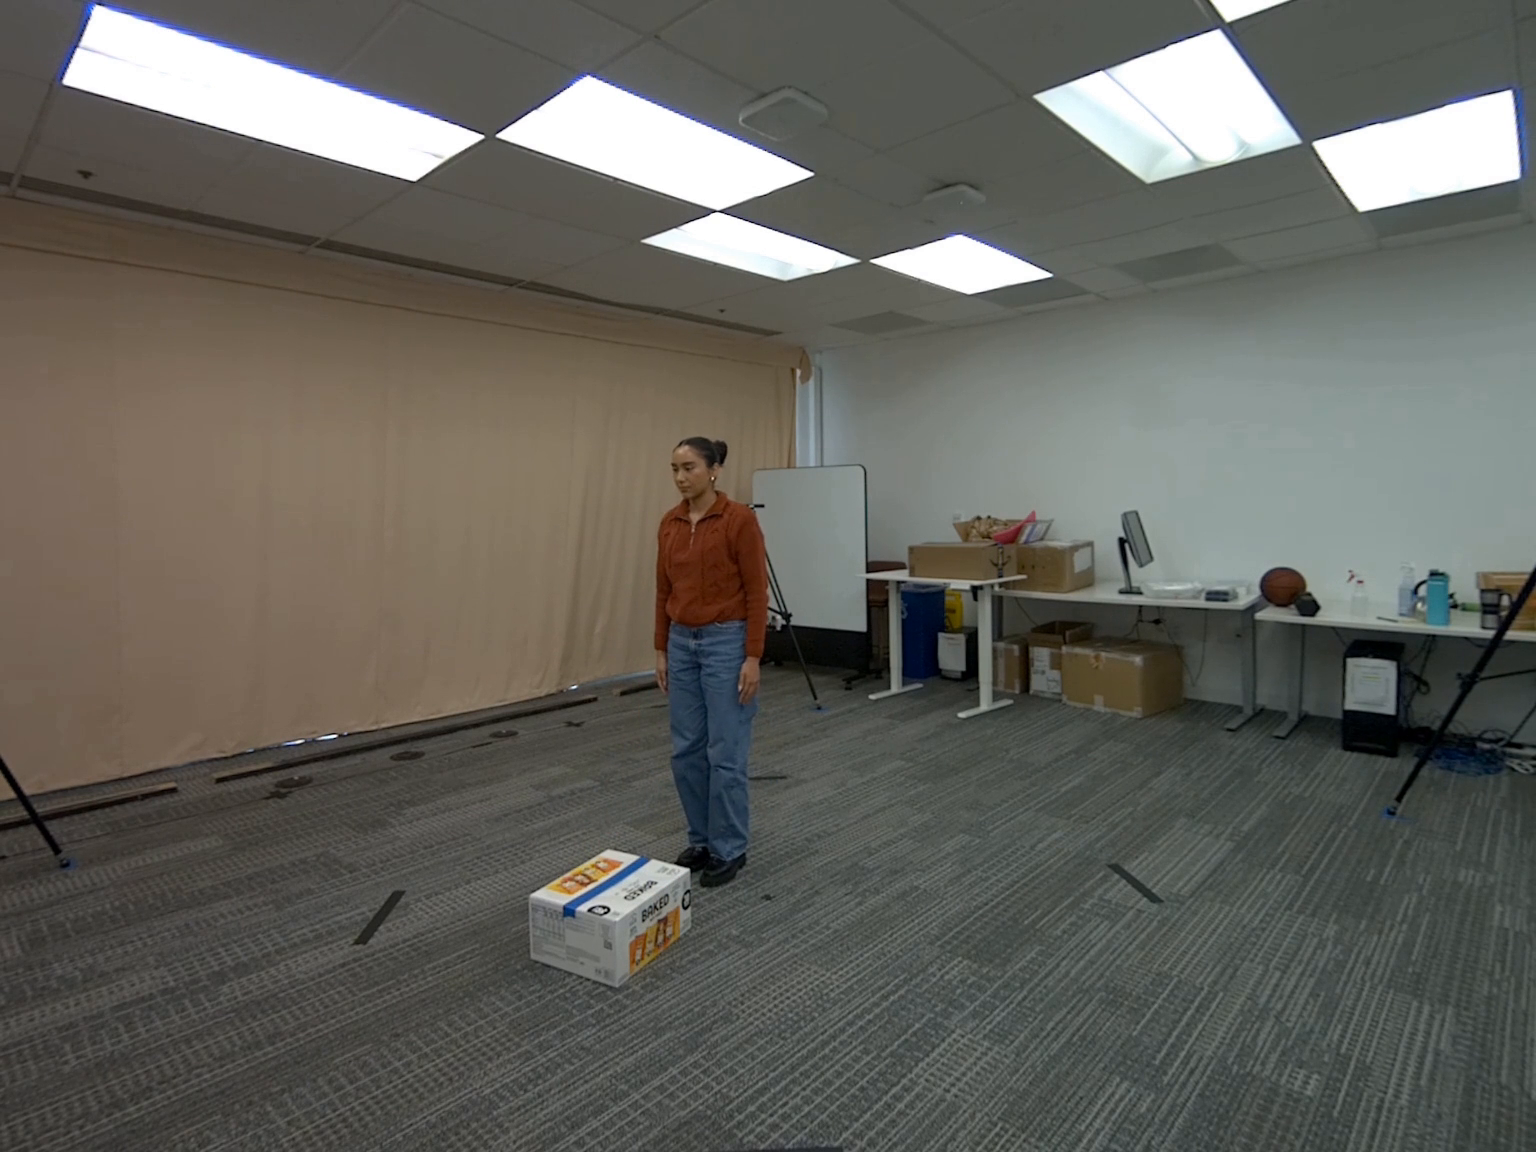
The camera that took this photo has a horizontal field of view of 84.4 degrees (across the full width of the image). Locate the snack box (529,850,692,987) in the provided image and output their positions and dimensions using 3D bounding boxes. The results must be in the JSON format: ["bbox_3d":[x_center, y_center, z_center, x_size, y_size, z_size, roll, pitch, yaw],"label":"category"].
[{"bbox_3d":[-0.495,1.070,2.685,0.350,0.205,0.395,1,5,29],"label":"snack box"}]
